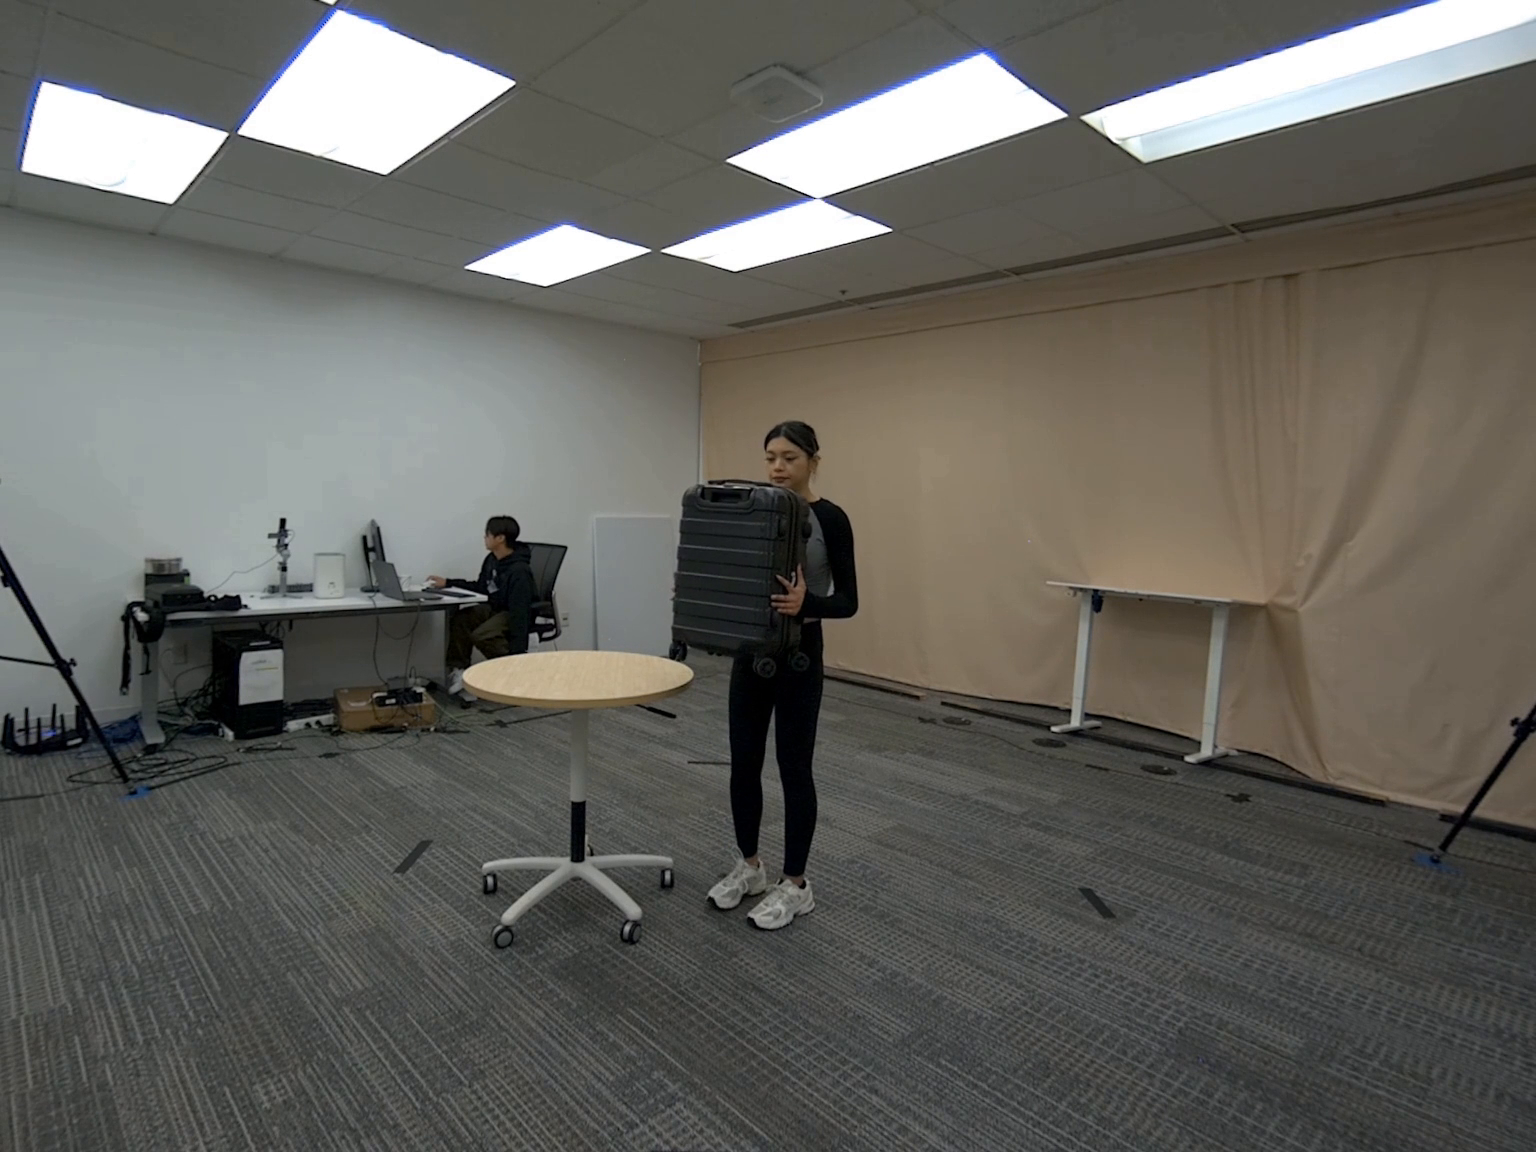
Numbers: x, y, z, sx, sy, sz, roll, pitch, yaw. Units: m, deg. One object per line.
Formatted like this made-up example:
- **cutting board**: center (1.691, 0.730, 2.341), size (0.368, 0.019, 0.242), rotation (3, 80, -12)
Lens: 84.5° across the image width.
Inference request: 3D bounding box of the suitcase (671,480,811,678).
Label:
- **suitcase**: center (-0.090, -0.007, 2.534), size (0.384, 0.549, 0.242), rotation (4, 0, 32)
